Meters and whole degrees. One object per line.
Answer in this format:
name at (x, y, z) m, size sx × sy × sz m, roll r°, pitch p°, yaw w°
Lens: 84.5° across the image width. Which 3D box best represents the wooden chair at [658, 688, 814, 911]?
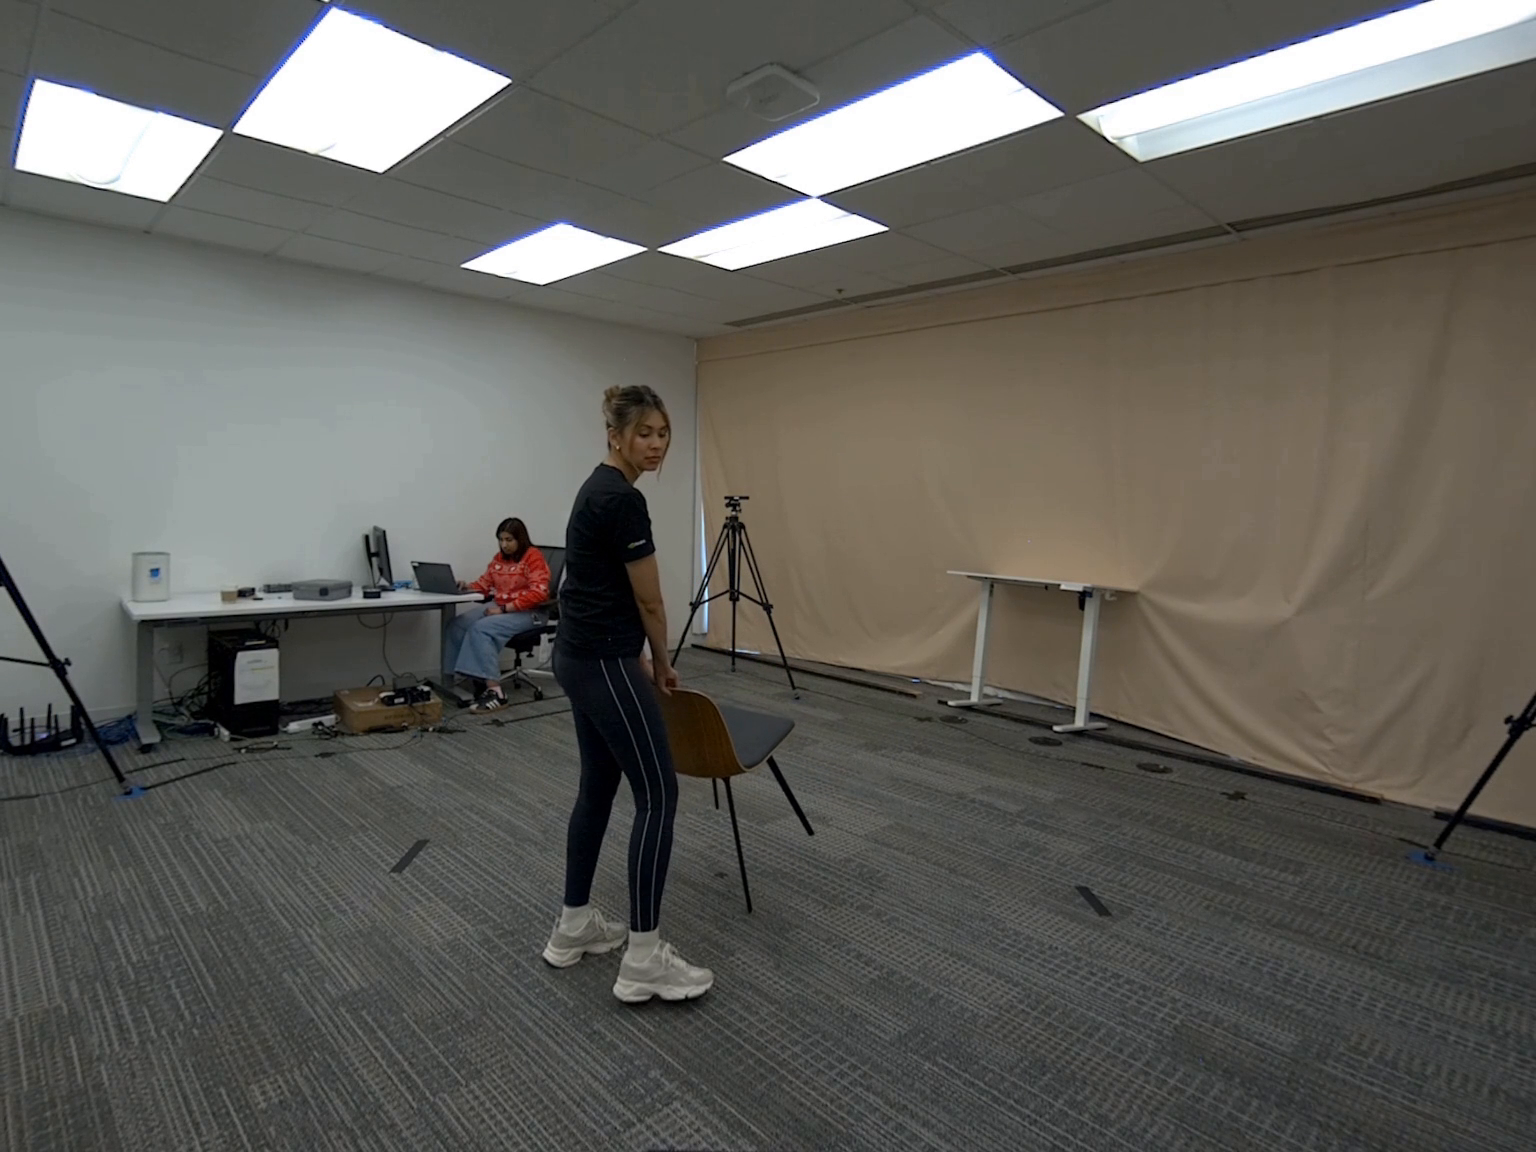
wooden chair at (-0.189, 0.636, 3.005) m, size 0.489 × 0.863 × 0.520 m, roll 3°, pitch 25°, yaw 33°
